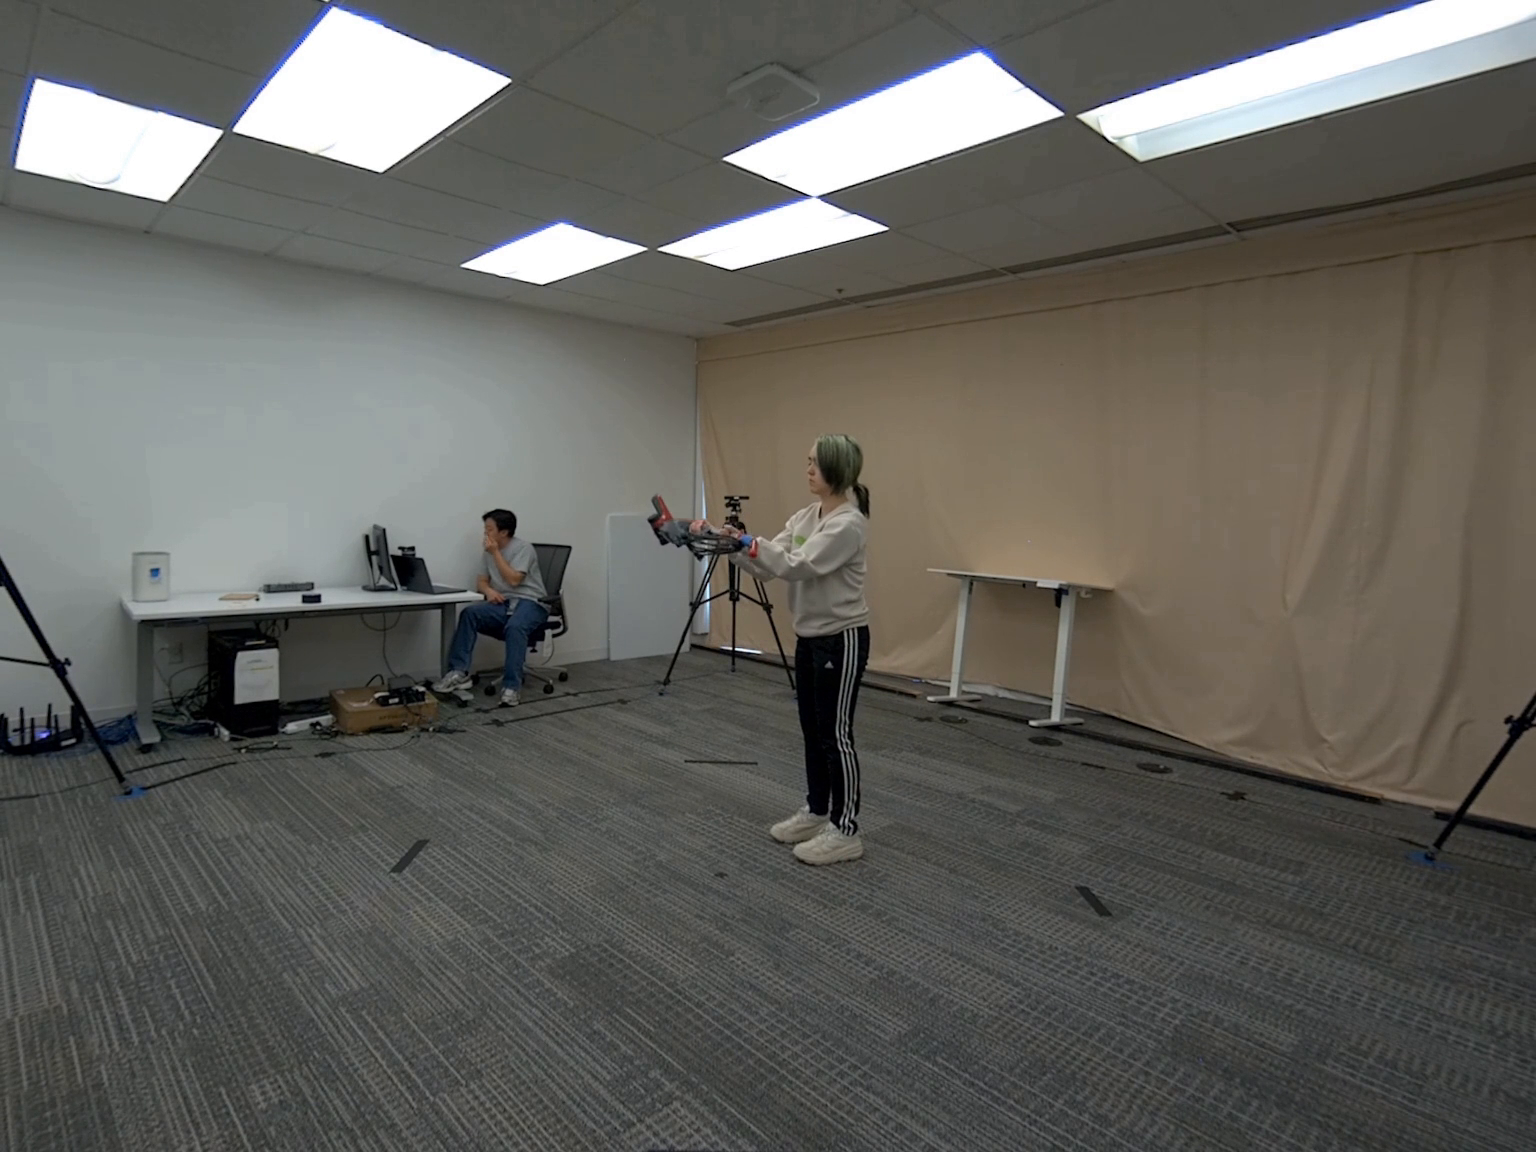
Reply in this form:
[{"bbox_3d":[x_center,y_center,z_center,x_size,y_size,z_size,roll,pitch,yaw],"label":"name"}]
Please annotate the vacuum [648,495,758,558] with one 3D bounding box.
[{"bbox_3d":[-0.254,-0.140,3.178,0.143,0.248,1.071,-35,19,-14],"label":"vacuum"}]
